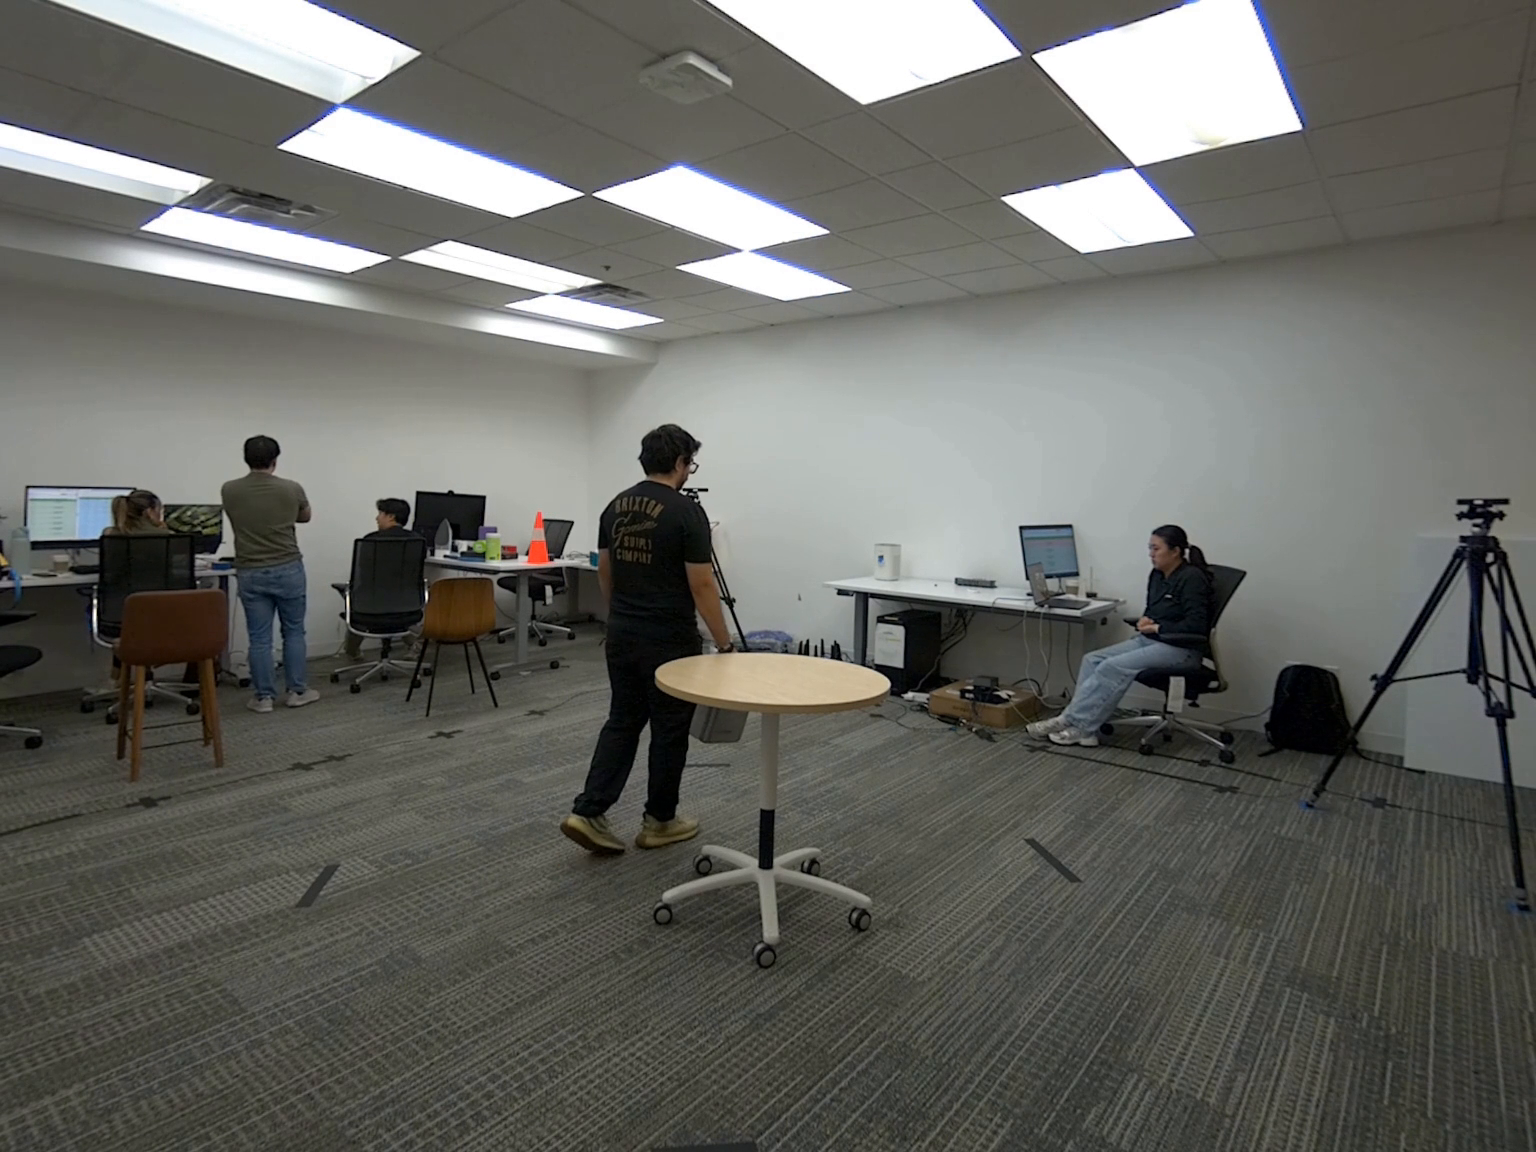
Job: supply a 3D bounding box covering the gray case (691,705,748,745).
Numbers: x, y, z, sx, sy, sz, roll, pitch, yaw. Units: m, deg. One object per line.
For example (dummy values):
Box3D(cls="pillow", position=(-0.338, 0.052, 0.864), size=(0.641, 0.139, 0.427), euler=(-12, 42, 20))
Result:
Box3D(cls="gray case", position=(-0.182, 0.498, 3.263), size=(0.108, 0.261, 0.248), euler=(15, -1, 33))
